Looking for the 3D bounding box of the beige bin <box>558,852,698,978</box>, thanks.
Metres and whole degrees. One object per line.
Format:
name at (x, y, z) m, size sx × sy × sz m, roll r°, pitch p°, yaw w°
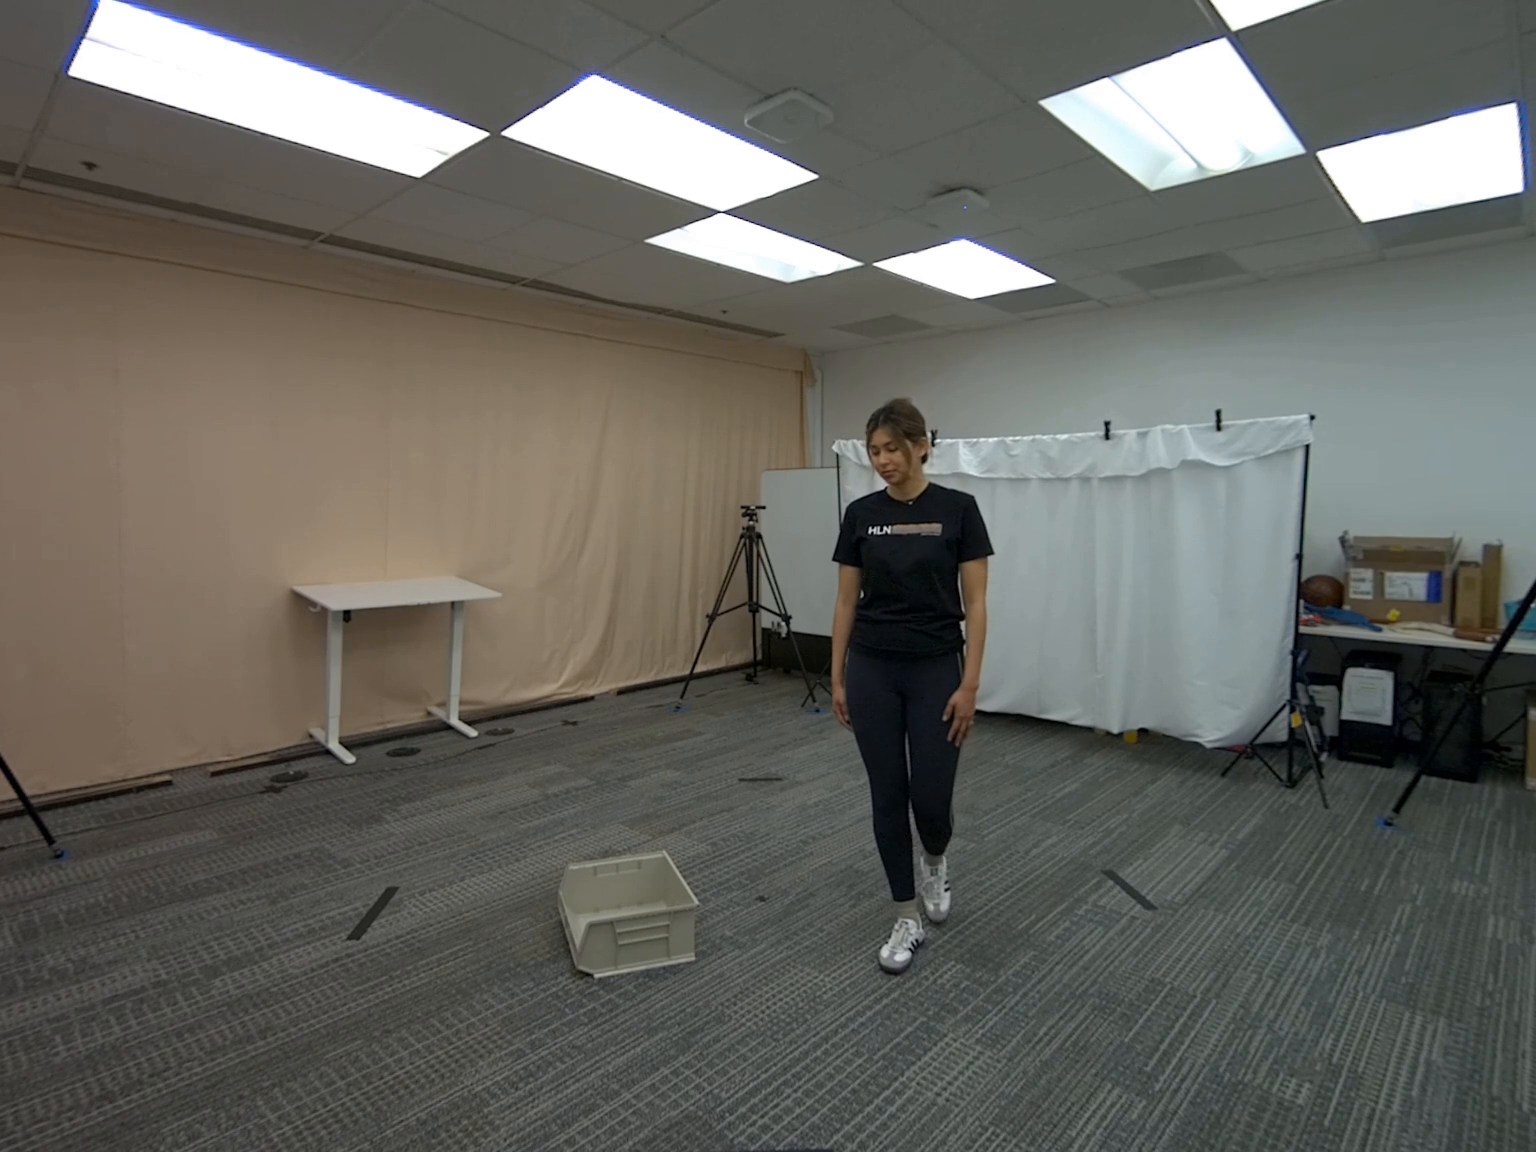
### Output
beige bin at (-0.461, 1.083, 2.710) m, size 0.370 × 0.188 × 0.432 m, roll -1°, pitch 4°, yaw -20°
